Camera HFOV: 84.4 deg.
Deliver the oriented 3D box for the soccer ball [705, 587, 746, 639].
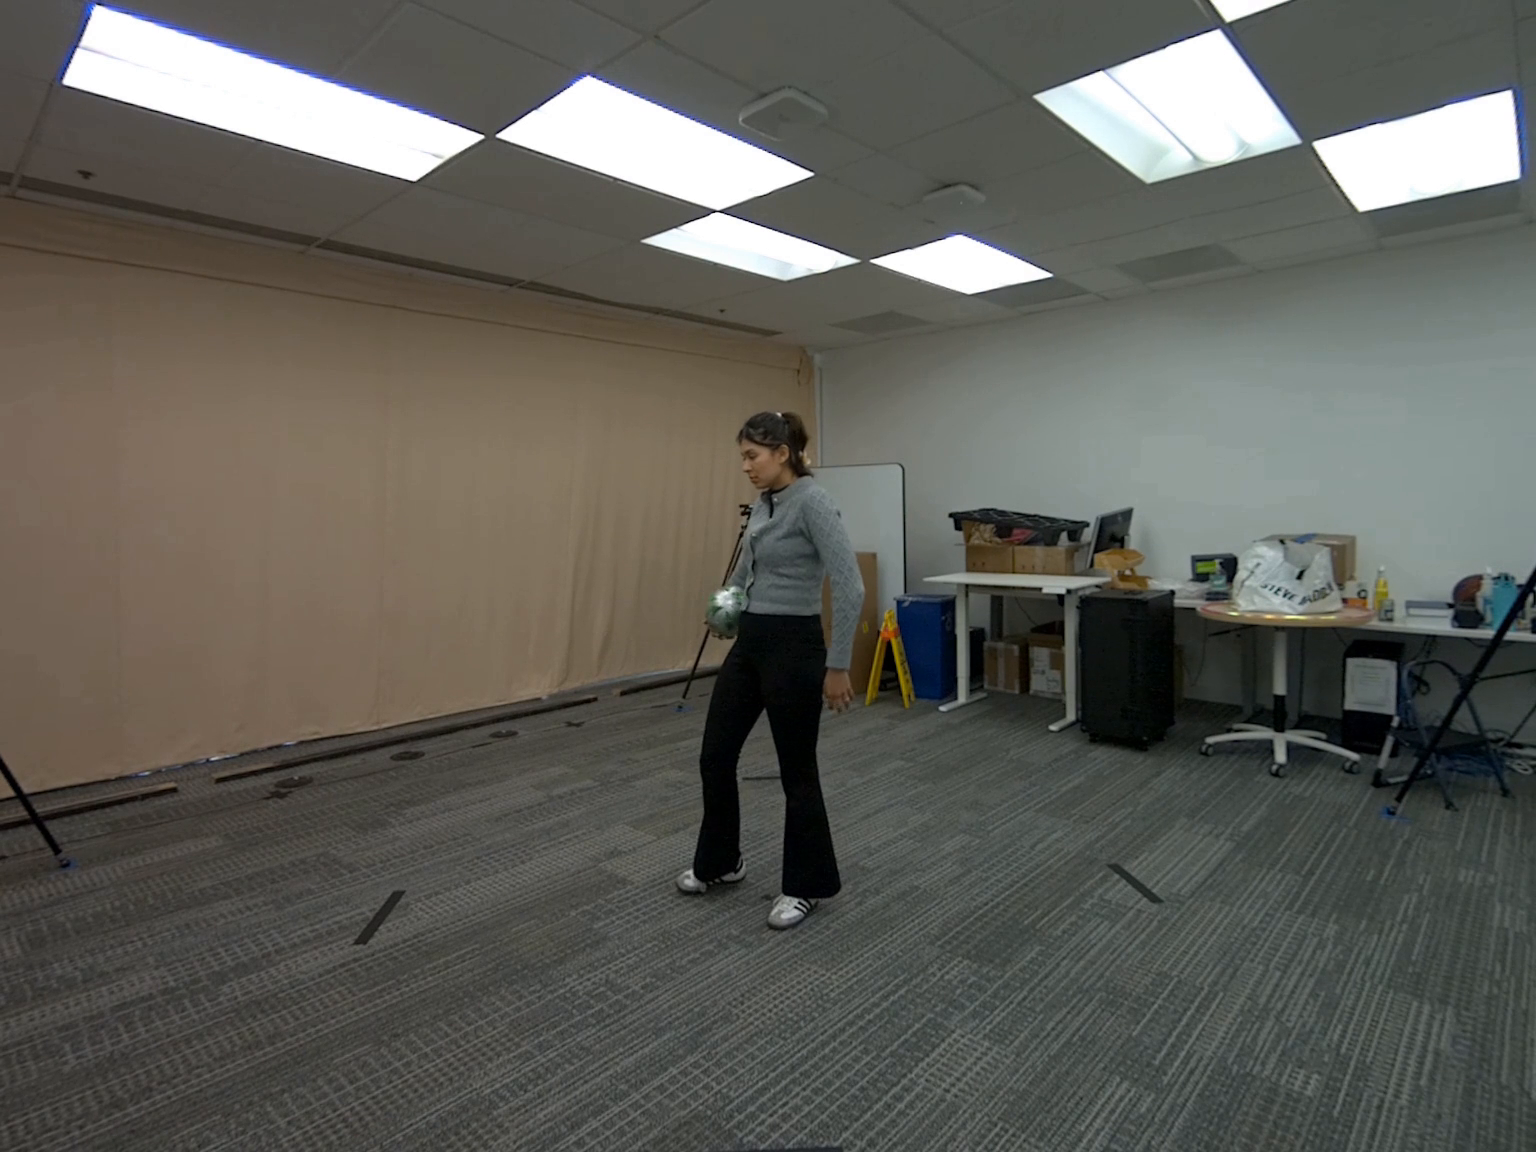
[{"bbox_3d":[-0.140,0.131,3.075,0.187,0.187,0.188,-1,4,-2],"label":"soccer ball"}]
